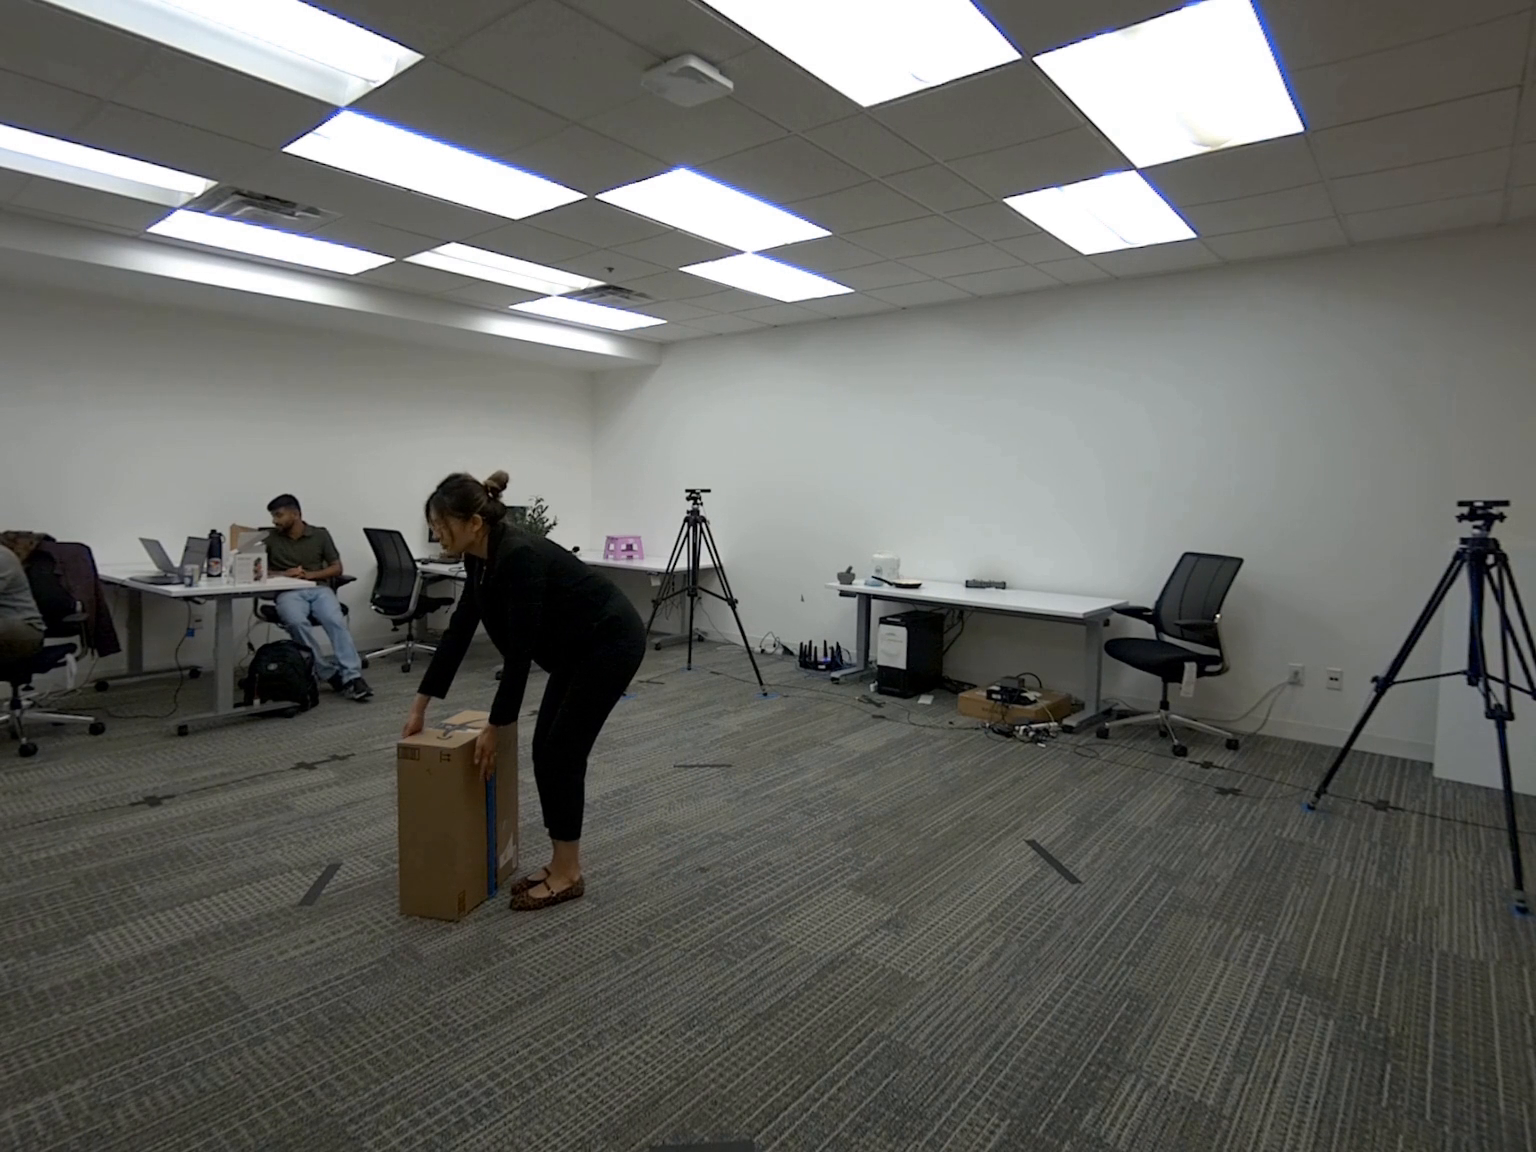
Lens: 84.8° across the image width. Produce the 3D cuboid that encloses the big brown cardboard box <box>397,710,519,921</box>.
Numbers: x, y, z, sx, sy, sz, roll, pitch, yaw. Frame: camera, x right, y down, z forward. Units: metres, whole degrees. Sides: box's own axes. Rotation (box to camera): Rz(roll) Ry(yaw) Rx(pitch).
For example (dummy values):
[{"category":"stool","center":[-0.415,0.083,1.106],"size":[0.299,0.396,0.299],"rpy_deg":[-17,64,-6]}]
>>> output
[{"category":"big brown cardboard box","center":[-1.062,0.804,2.901],"size":[0.236,0.586,0.414],"rpy_deg":[1,5,11]}]
